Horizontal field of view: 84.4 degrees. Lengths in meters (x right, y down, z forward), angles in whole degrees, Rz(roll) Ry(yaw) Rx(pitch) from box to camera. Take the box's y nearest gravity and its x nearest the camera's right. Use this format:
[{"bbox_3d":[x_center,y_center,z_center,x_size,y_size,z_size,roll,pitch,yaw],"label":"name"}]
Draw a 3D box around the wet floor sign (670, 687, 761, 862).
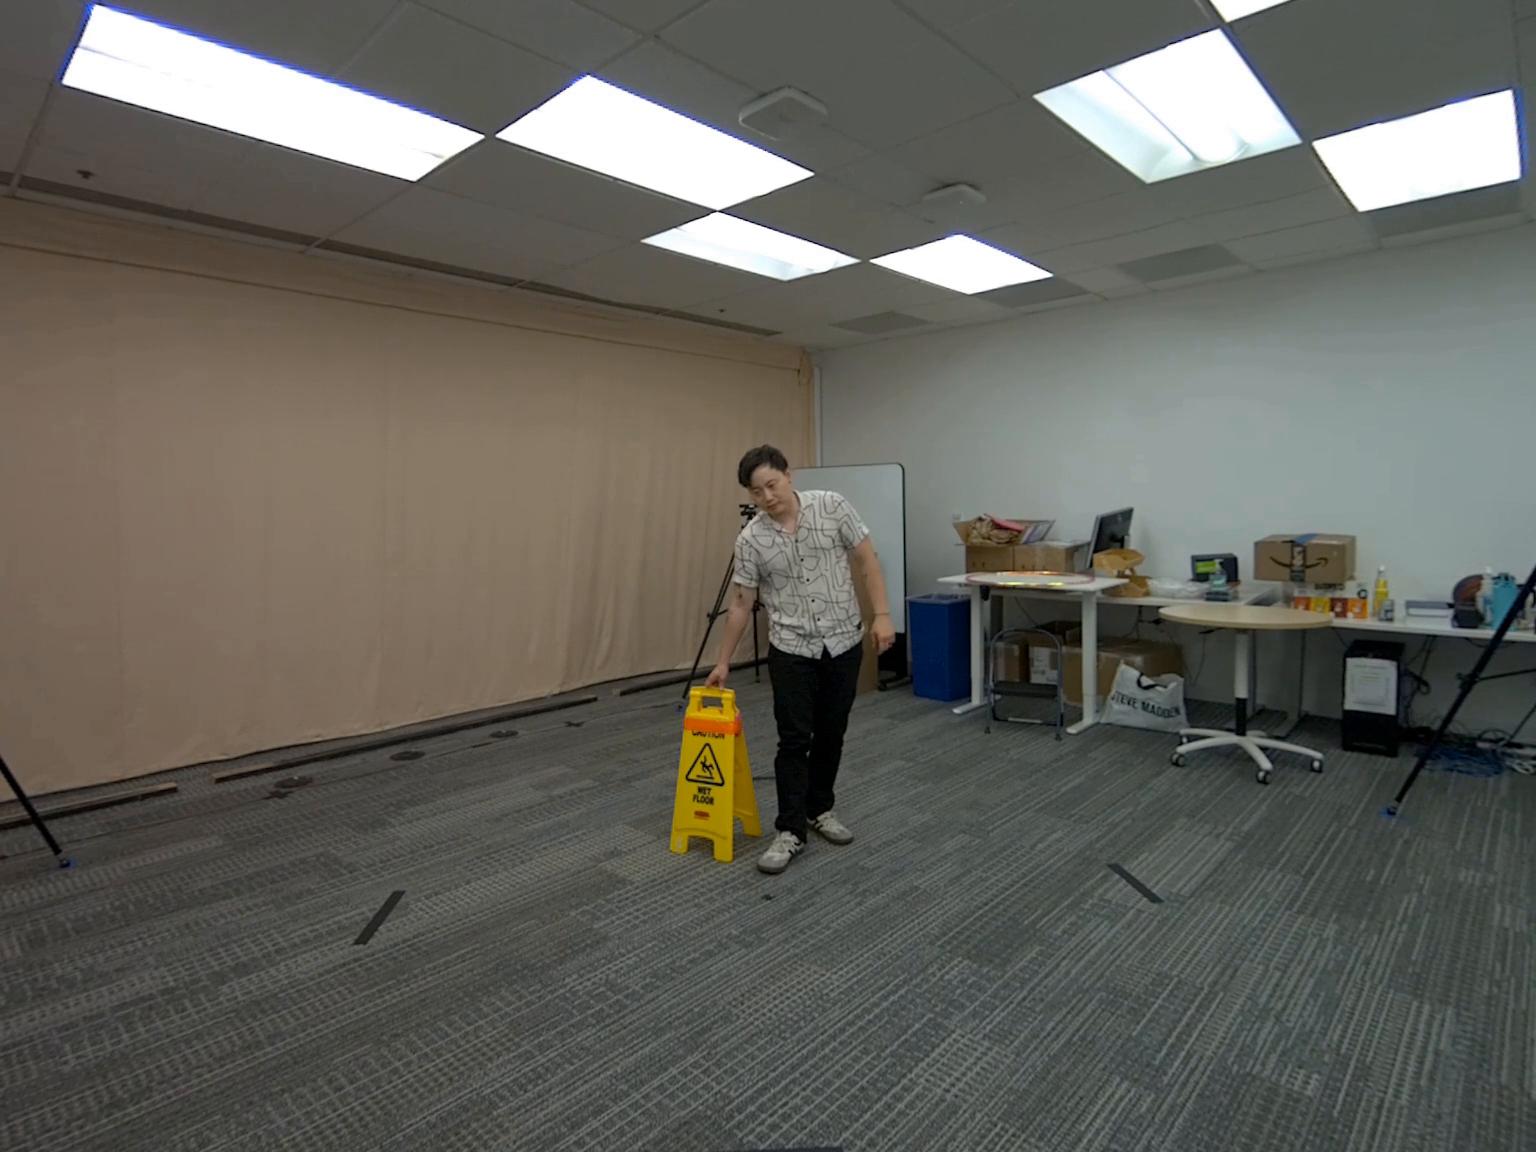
[{"bbox_3d":[-0.218,0.783,3.456,0.289,0.644,0.283,-1,4,25],"label":"wet floor sign"}]
